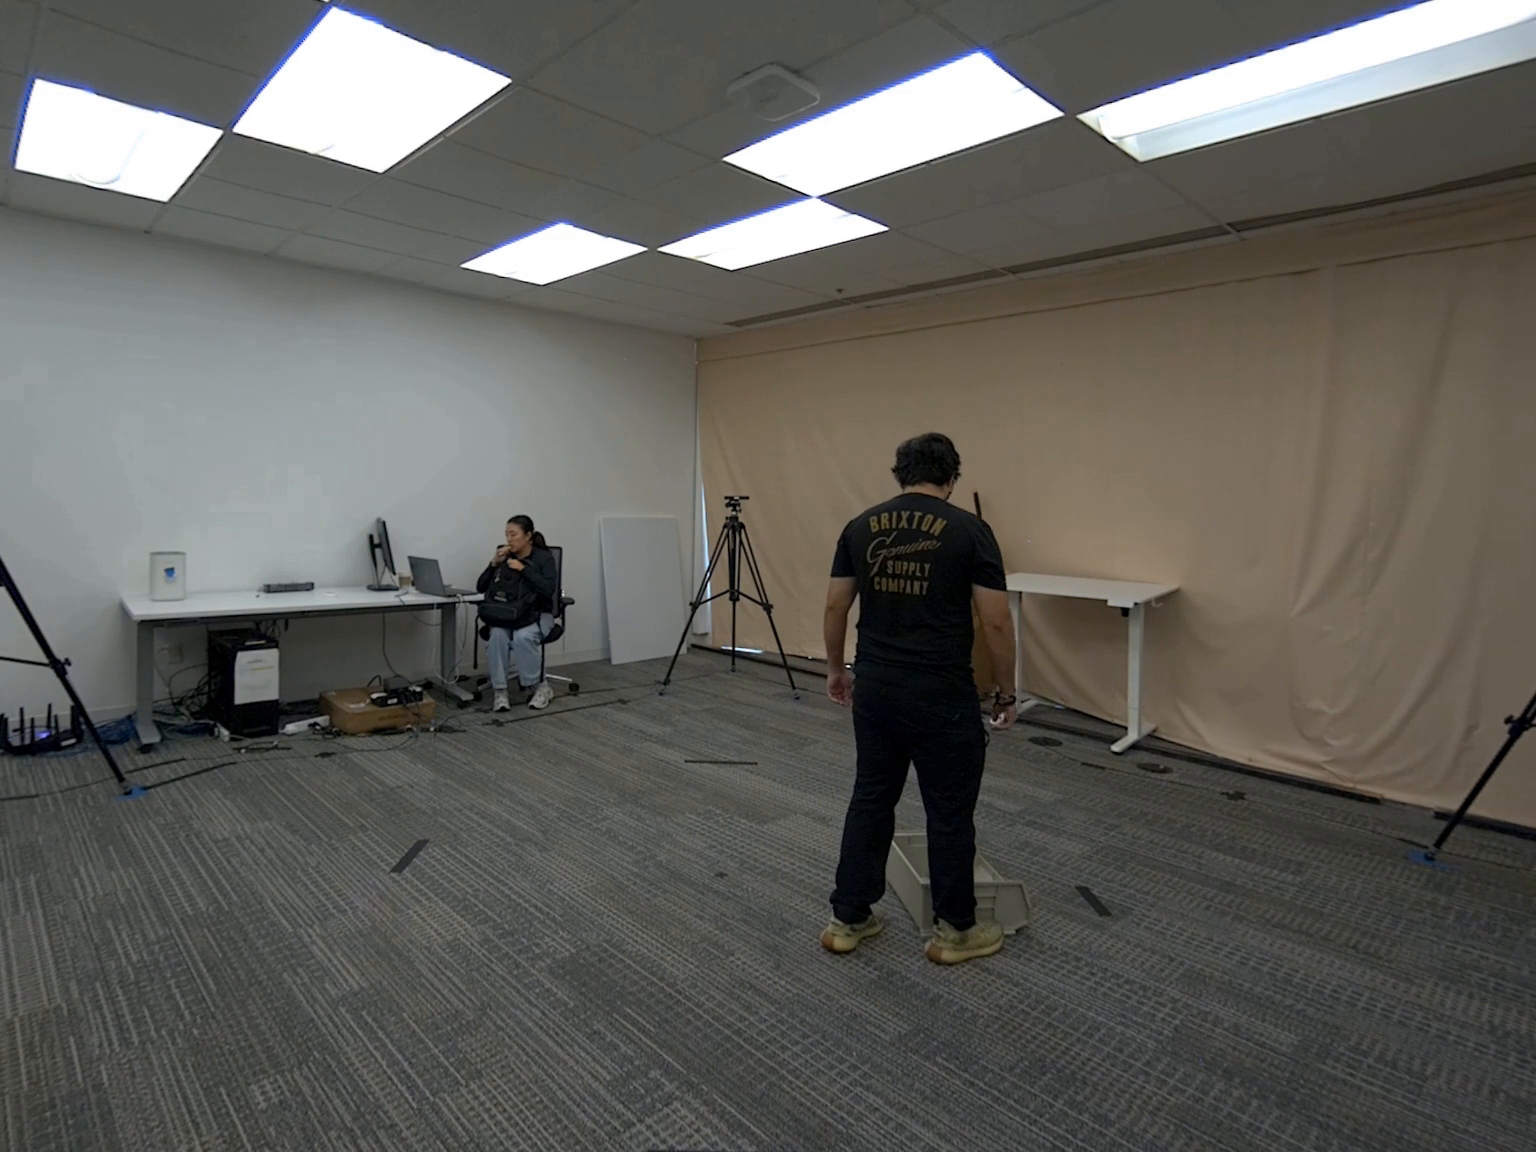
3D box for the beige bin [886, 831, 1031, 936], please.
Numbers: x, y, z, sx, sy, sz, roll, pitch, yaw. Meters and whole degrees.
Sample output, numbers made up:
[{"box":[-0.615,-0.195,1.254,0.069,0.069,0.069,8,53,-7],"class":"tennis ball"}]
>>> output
[{"box":[0.639,1.053,2.913,0.375,0.188,0.426,0,6,-8],"class":"beige bin"}]
